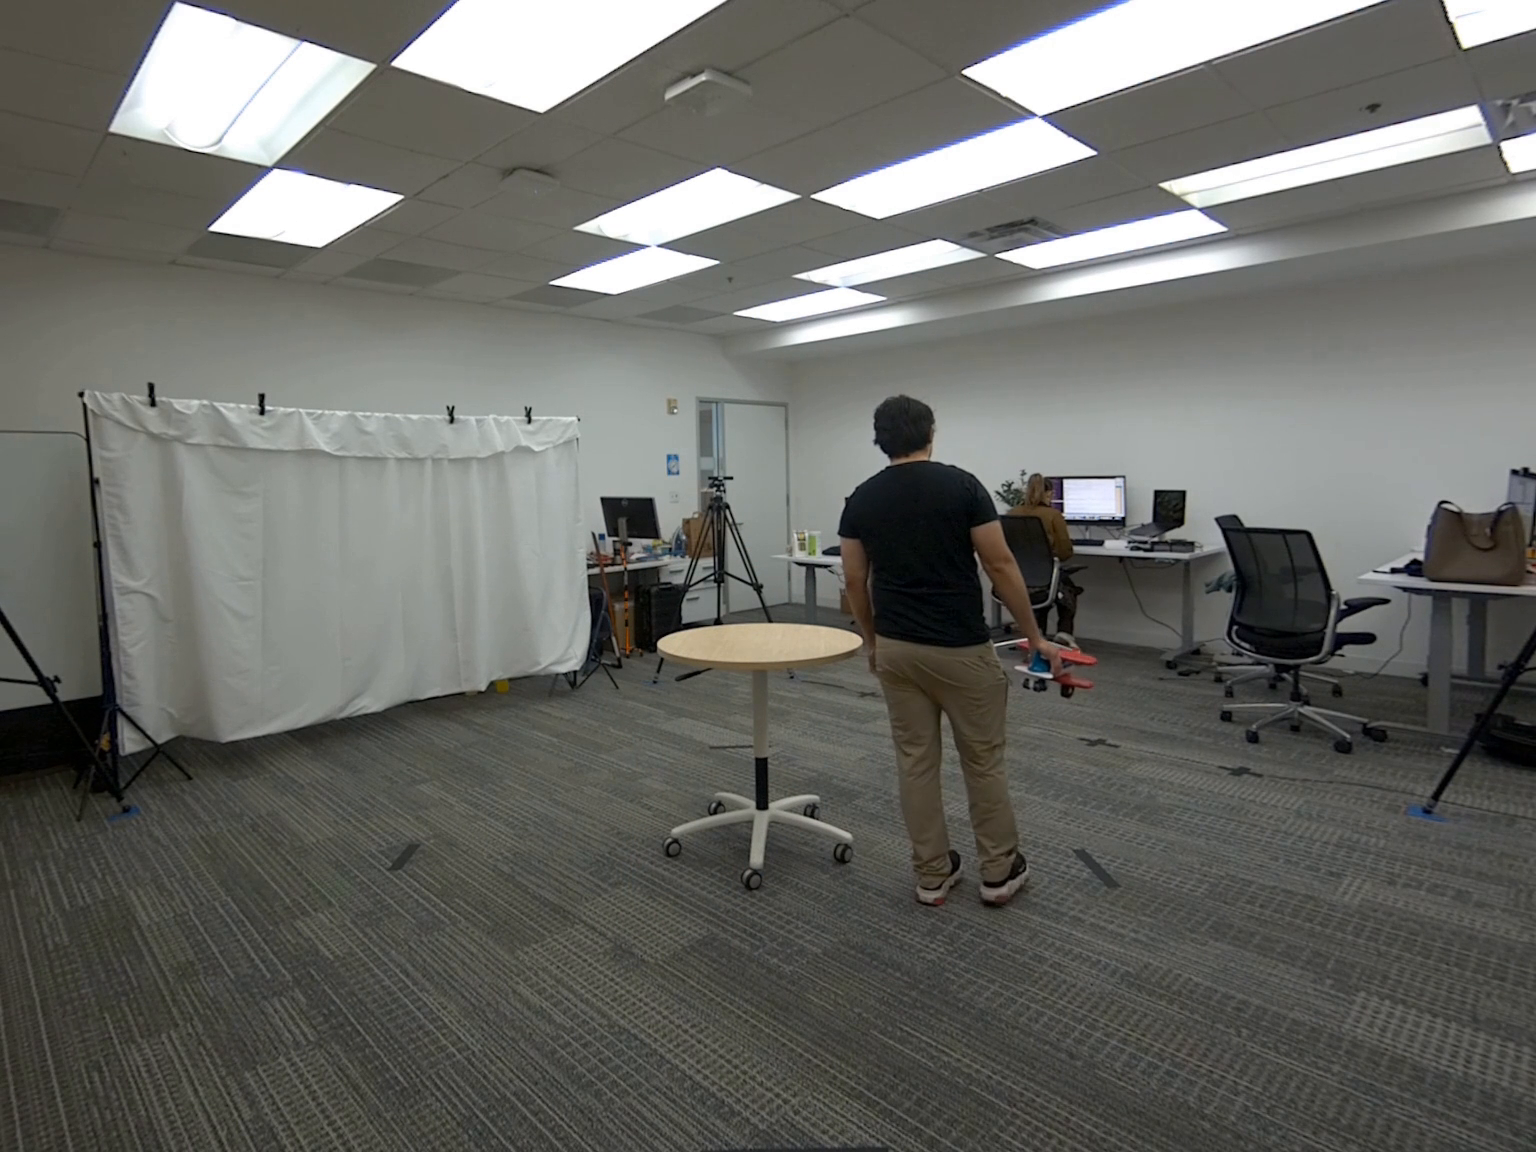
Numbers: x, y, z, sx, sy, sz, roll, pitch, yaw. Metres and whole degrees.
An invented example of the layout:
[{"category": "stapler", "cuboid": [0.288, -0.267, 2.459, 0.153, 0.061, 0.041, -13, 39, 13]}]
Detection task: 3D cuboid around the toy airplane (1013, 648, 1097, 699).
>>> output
[{"category": "toy airplane", "cuboid": [0.921, 0.306, 2.747, 0.256, 0.156, 0.254, 14, -2, 15]}]
